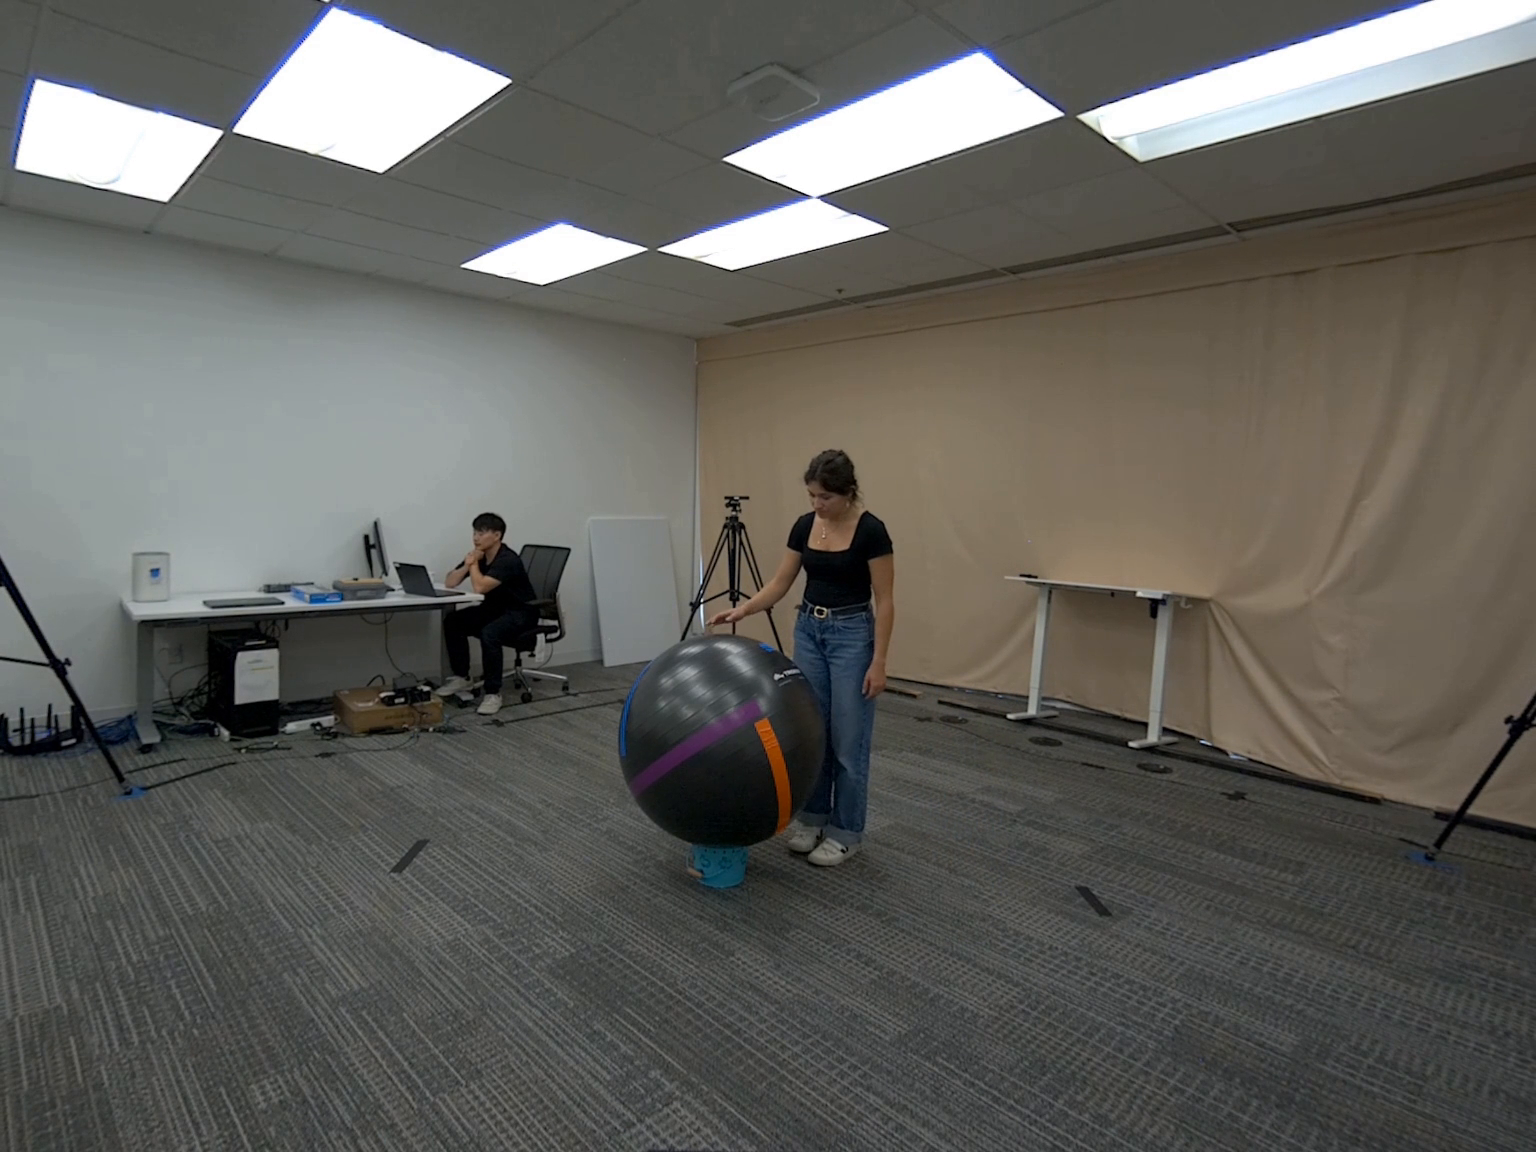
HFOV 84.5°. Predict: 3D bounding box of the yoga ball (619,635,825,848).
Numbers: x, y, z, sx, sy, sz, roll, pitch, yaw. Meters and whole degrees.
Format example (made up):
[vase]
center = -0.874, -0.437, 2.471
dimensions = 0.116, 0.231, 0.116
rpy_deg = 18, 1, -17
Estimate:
[yoga ball]
center = -0.174, 0.593, 3.067
dimensions = 0.757, 0.756, 0.761
rpy_deg = 1, 4, -1
